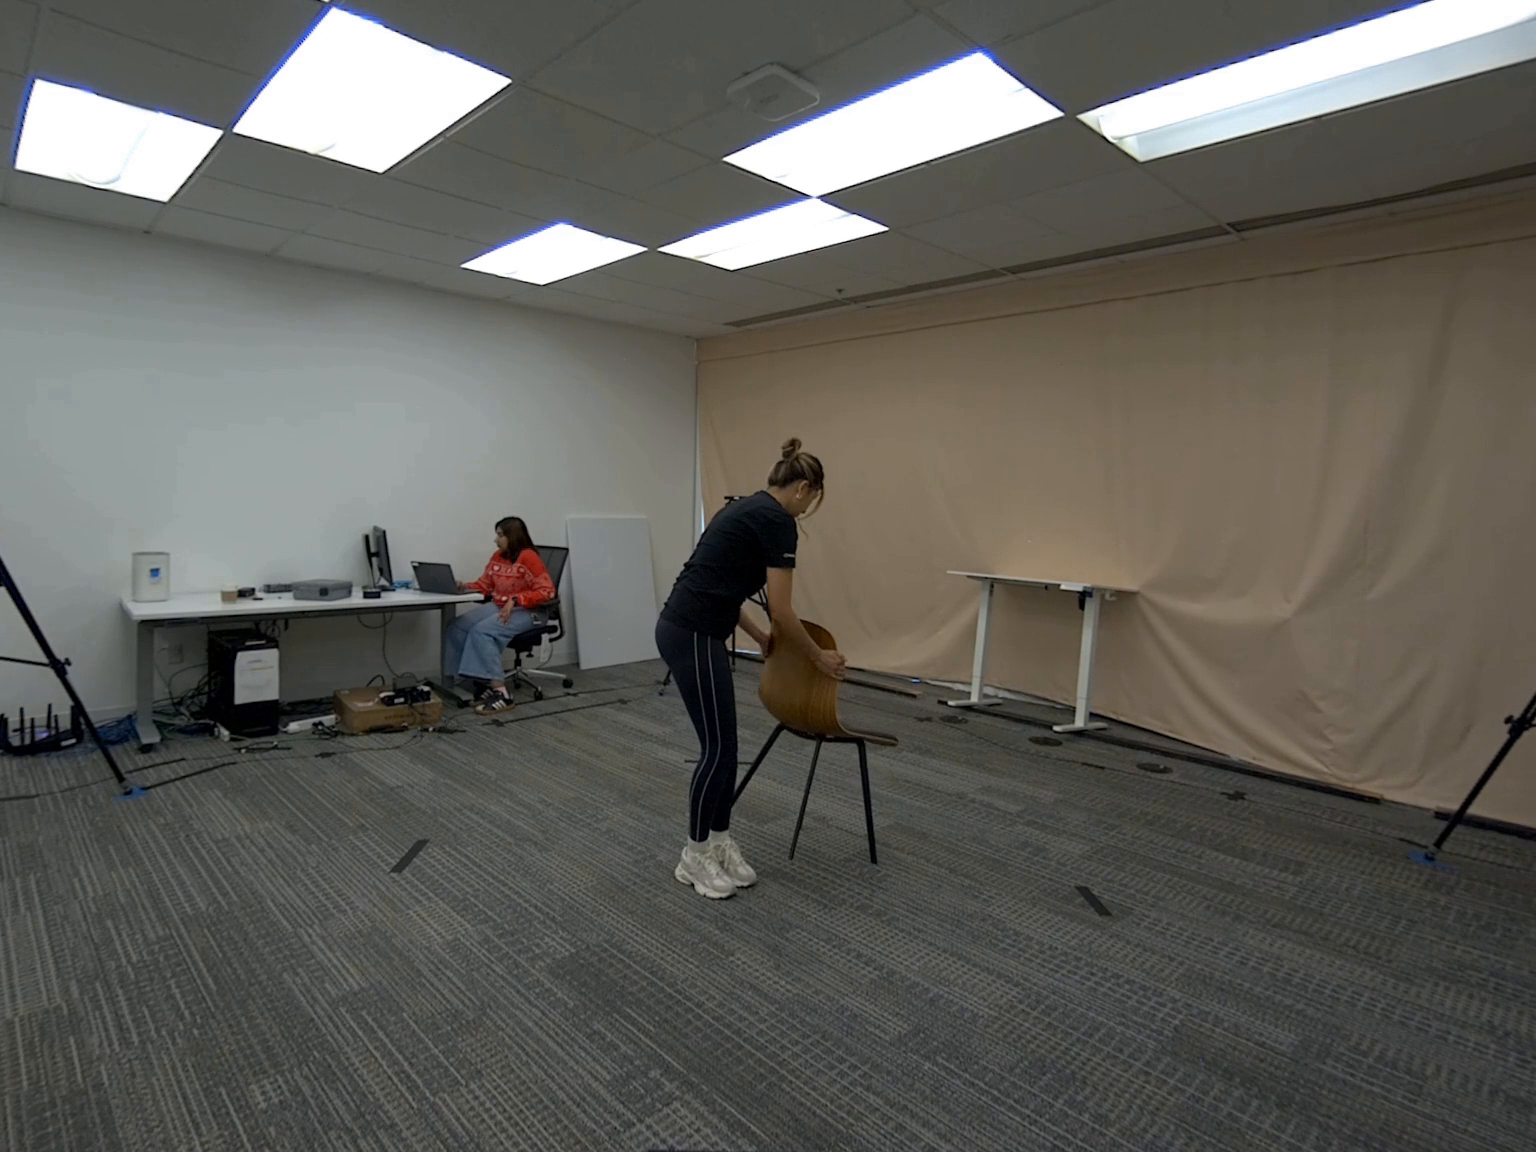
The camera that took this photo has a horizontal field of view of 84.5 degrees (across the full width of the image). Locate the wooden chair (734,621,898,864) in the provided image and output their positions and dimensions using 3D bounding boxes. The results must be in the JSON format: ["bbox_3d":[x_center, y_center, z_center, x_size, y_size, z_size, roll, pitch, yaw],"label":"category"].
[{"bbox_3d":[0.203,0.624,3.322,0.509,0.879,0.490,12,-3,-37],"label":"wooden chair"}]
